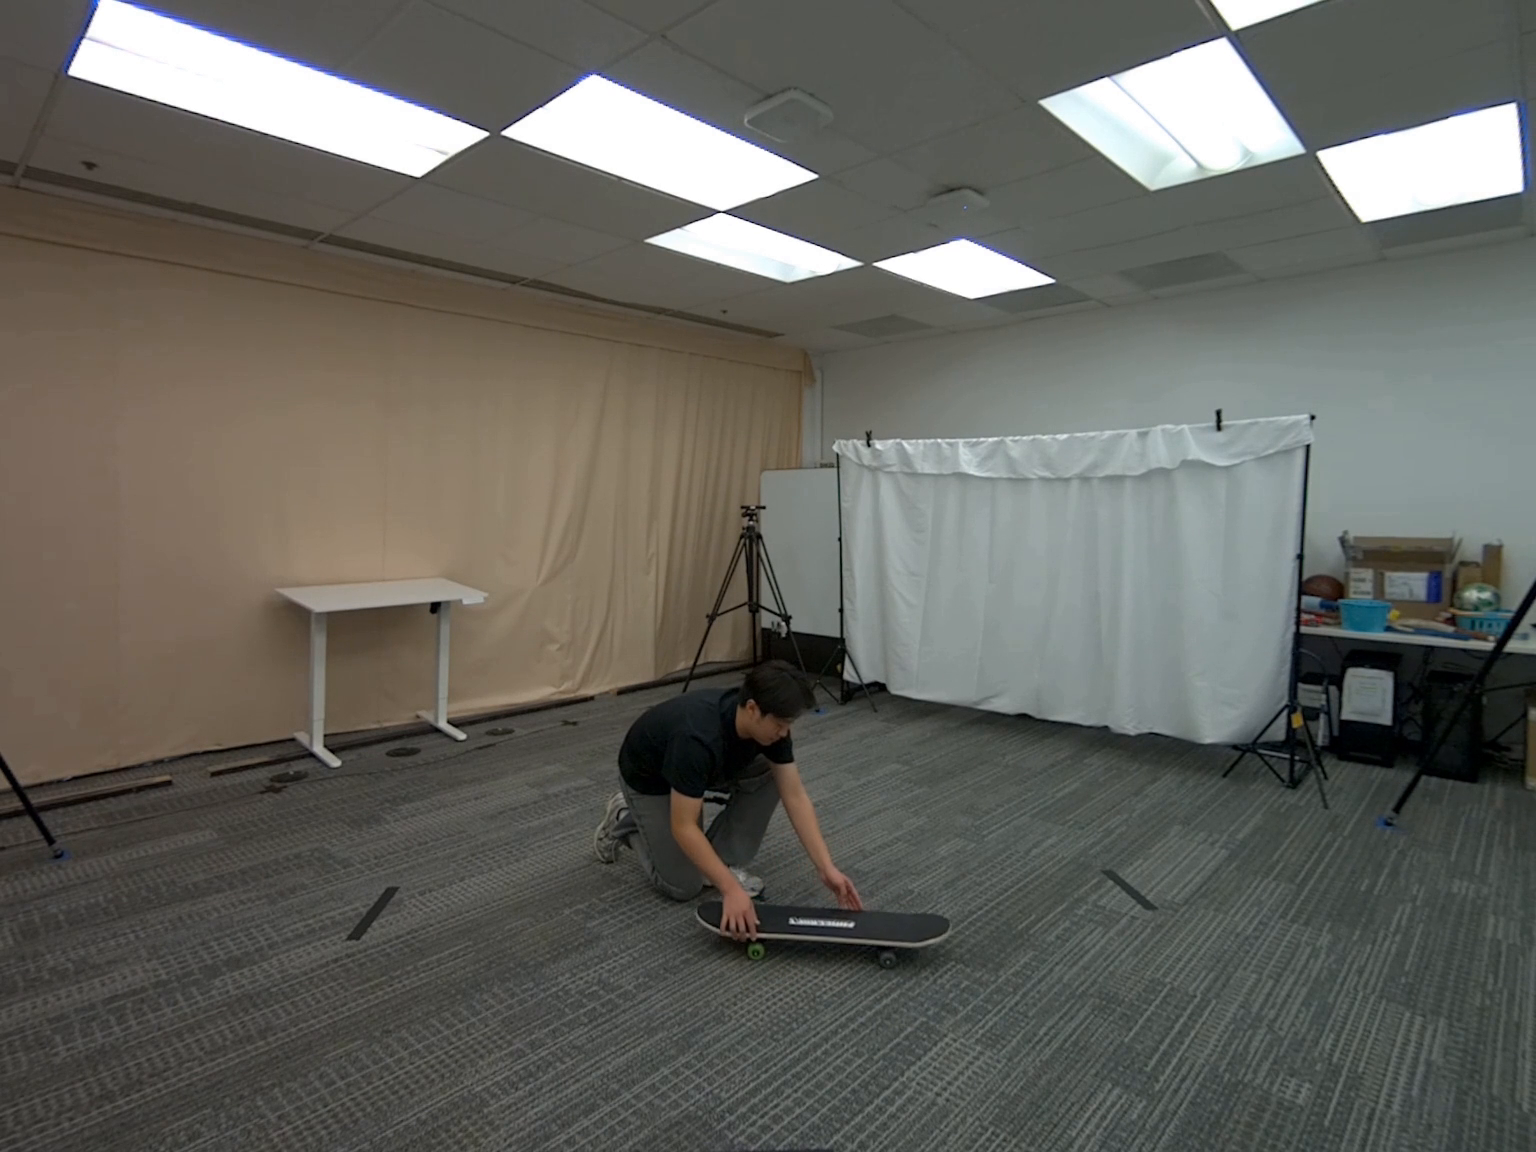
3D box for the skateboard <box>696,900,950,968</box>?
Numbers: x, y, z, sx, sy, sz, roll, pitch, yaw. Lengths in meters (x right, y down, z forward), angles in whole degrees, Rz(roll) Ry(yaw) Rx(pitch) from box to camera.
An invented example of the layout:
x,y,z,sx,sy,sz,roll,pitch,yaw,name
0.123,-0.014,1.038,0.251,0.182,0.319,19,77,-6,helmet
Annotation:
x,y,z,sx,sy,sz,roll,pitch,yaw,name
0.173,1.110,2.635,0.790,0.110,0.193,0,5,5,skateboard
